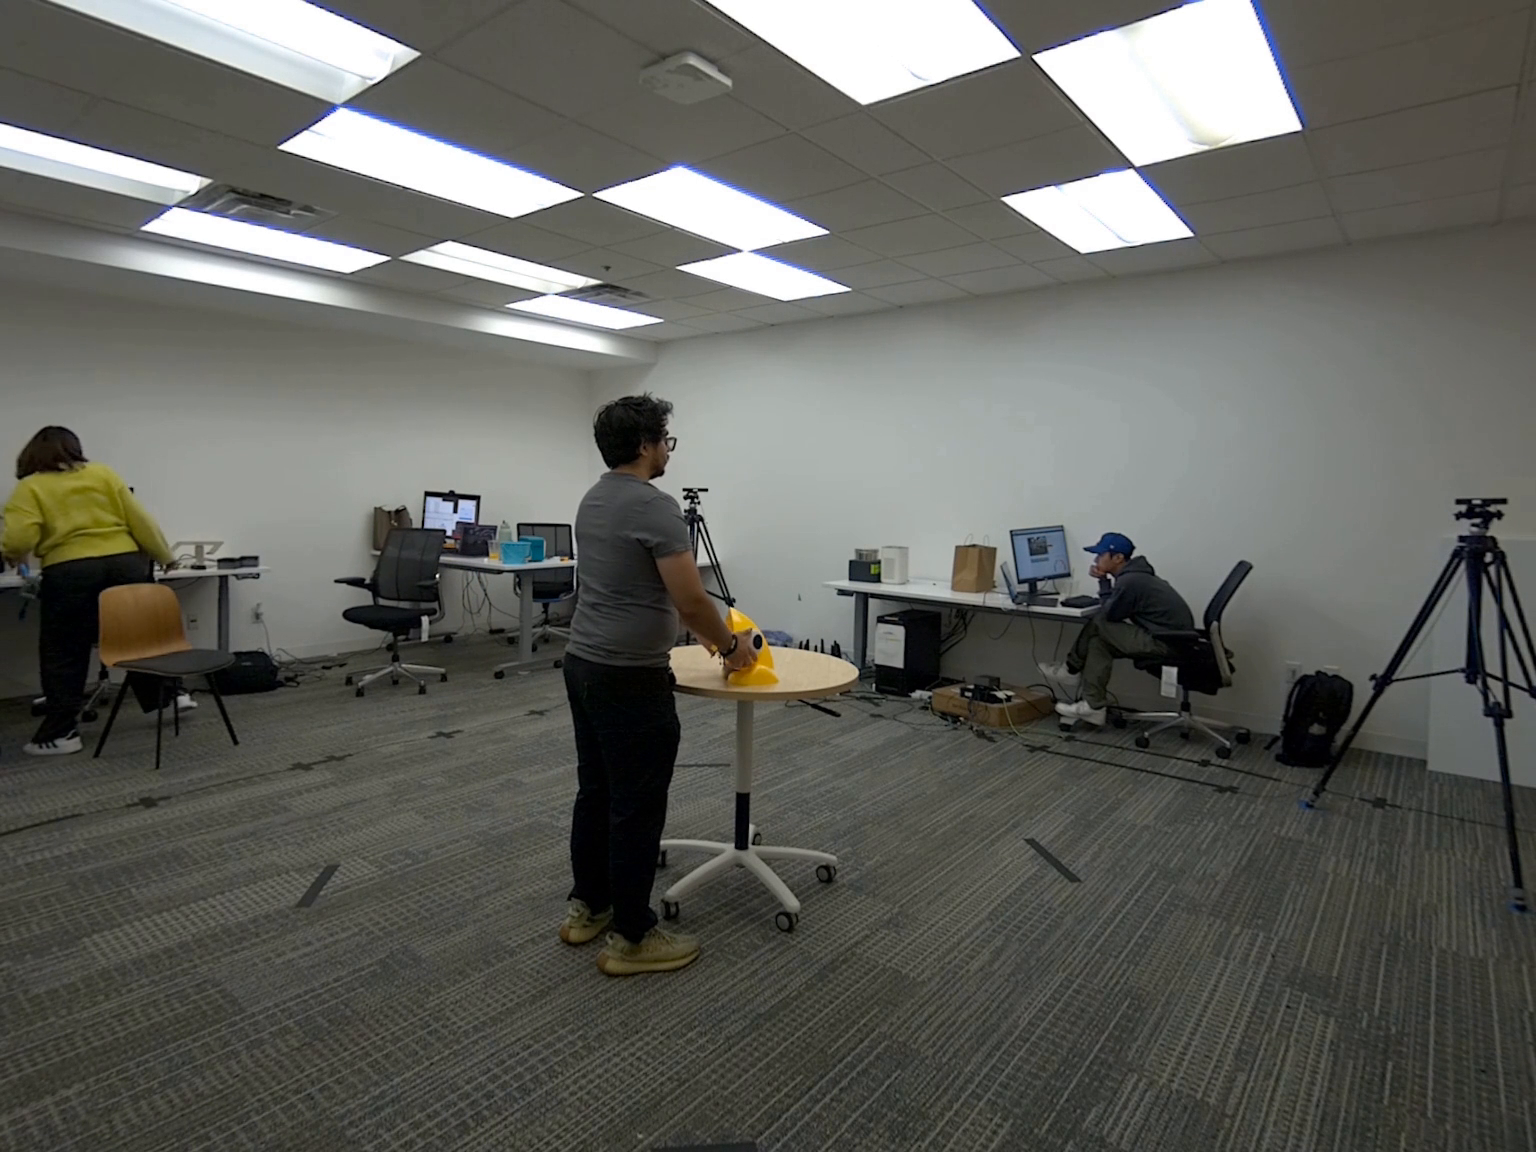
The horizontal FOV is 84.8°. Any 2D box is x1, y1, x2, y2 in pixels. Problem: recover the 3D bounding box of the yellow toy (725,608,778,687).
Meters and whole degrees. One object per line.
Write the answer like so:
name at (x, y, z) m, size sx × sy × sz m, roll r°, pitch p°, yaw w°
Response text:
yellow toy at (-0.083, 0.210, 2.738) m, size 0.190 × 0.230 × 0.209 m, roll -2°, pitch 5°, yaw -18°
